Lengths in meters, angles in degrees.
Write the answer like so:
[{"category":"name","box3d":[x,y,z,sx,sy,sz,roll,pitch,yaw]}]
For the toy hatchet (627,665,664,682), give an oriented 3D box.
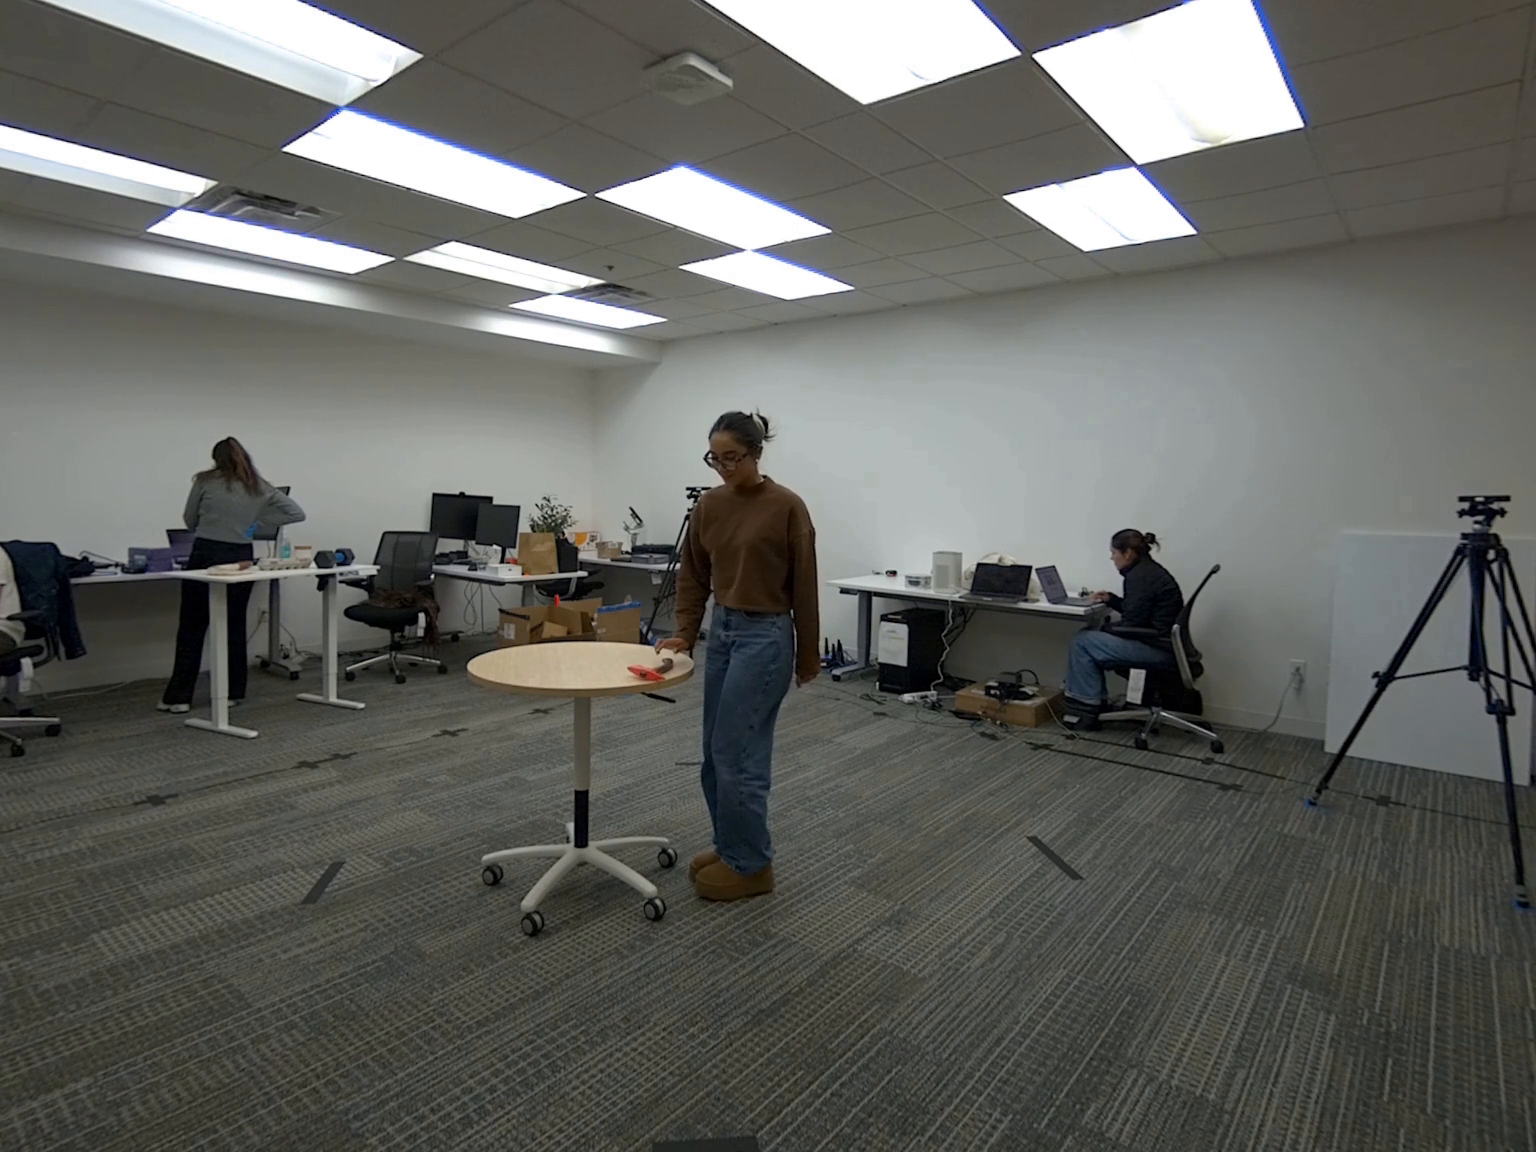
[{"category":"toy hatchet","box3d":[-0.333,0.307,2.768,0.135,0.029,0.262,4,2,35]}]
